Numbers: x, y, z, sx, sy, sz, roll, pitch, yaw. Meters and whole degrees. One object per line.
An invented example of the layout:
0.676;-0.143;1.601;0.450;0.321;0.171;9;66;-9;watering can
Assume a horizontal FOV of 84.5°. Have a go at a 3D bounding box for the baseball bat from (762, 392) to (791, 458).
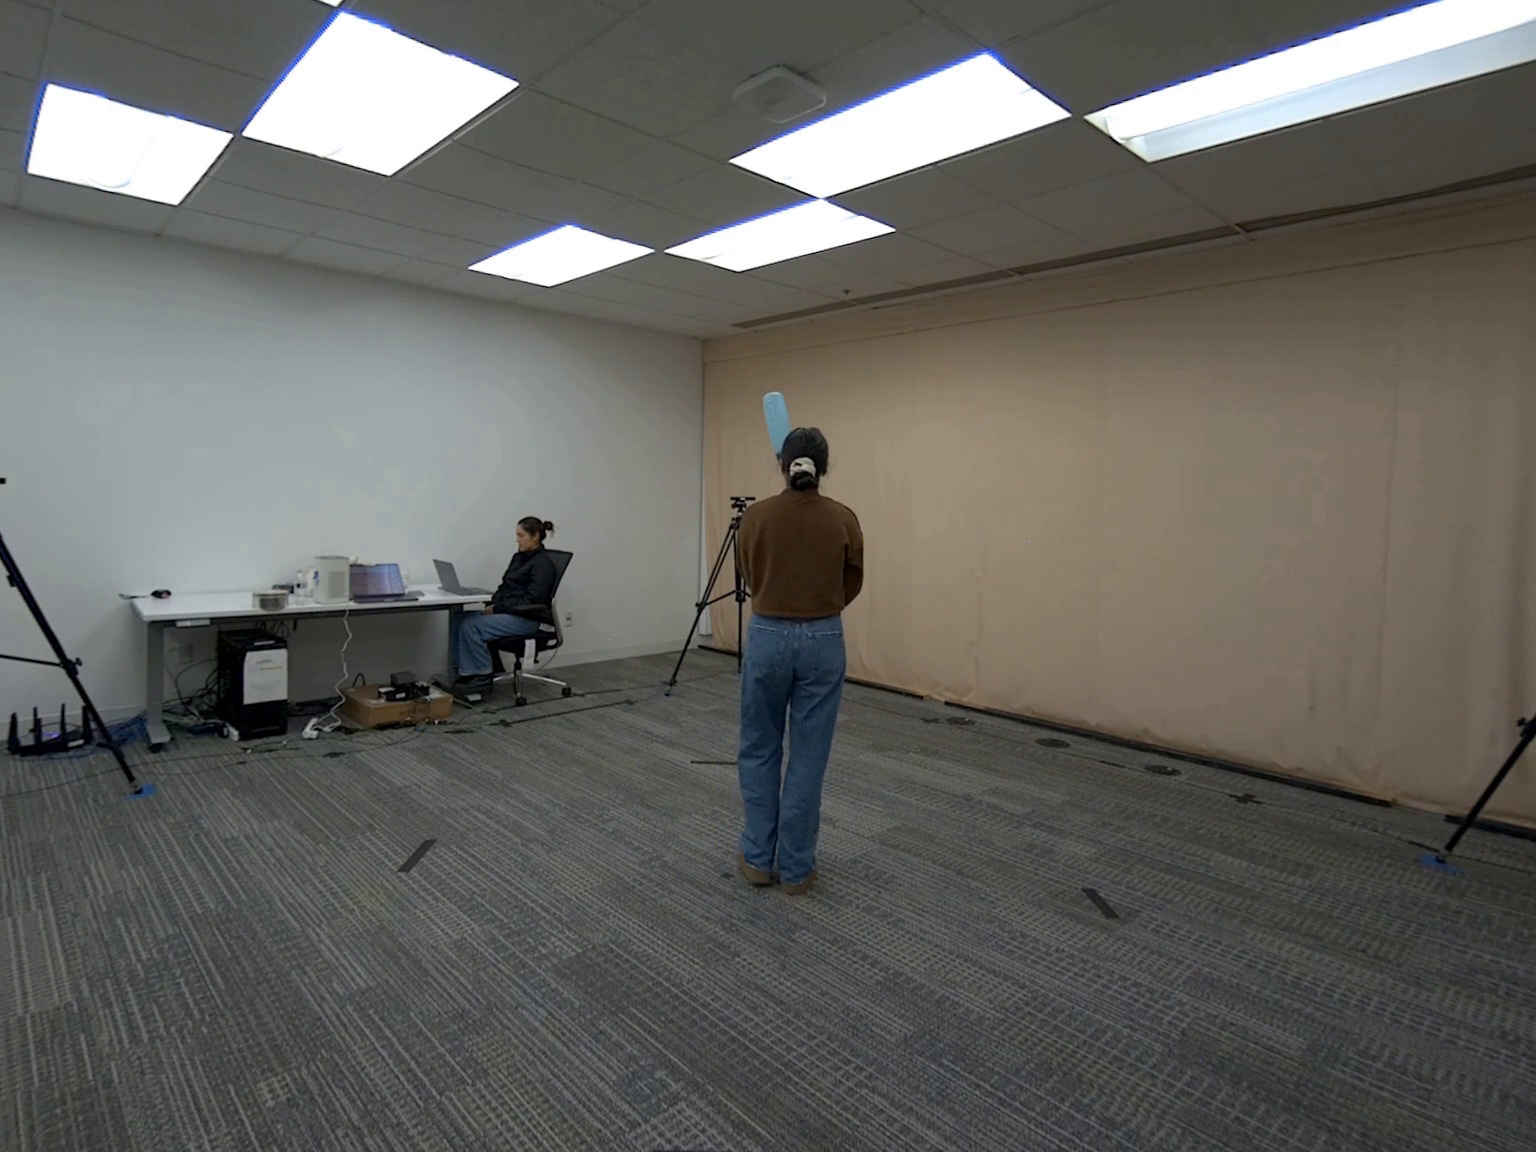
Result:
0.064;-0.459;3.283;0.089;0.548;0.088;-9;-11;-3;baseball bat
